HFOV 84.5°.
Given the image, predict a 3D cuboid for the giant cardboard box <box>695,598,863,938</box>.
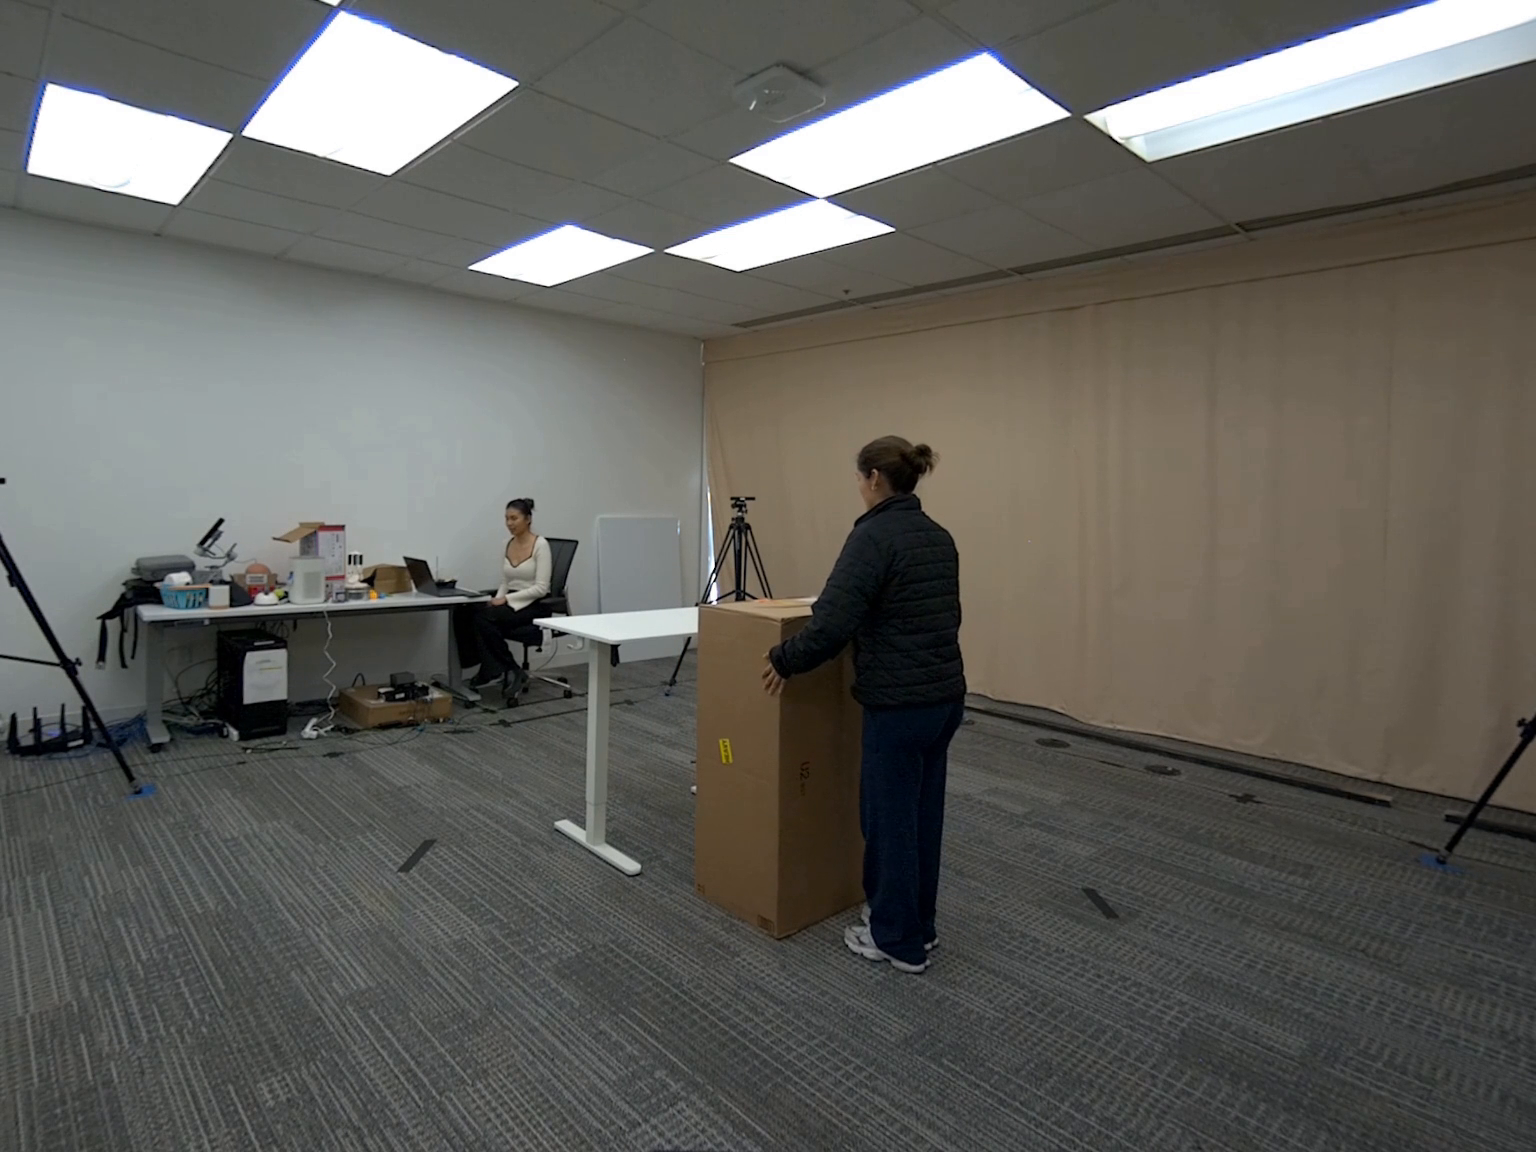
[{"bbox_3d":[0.094,0.615,2.969,0.564,1.023,0.437,-2,4,-42],"label":"giant cardboard box"}]
